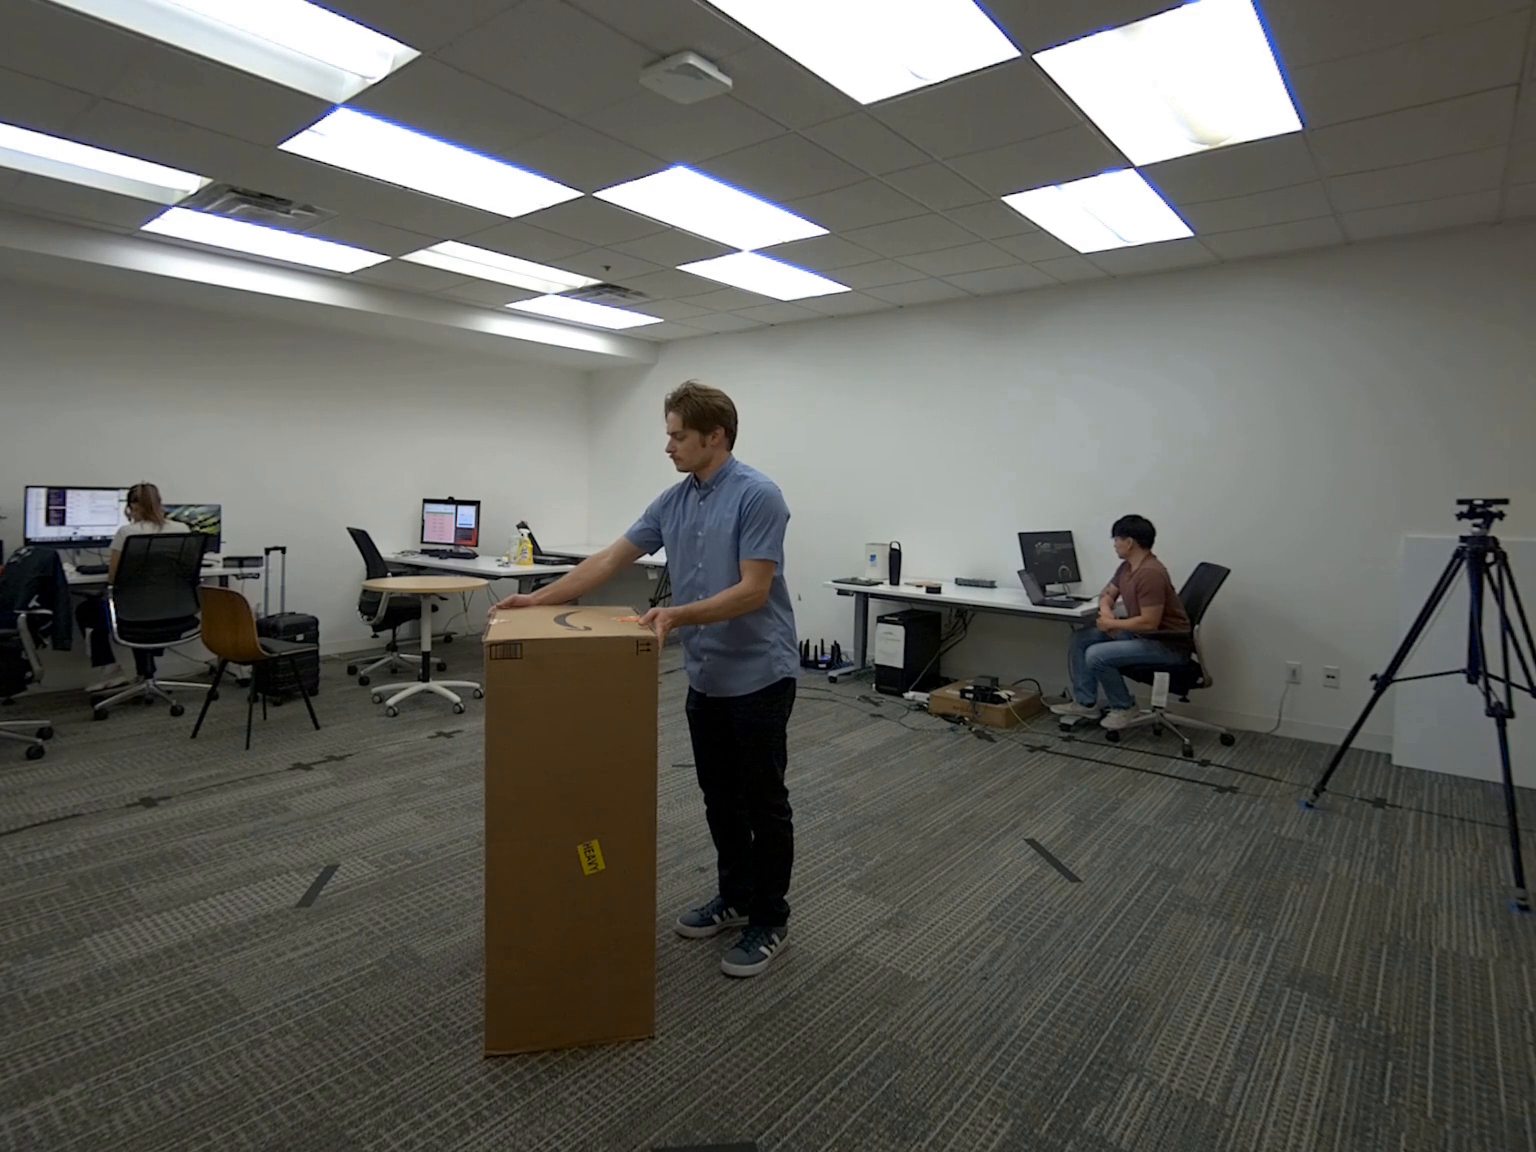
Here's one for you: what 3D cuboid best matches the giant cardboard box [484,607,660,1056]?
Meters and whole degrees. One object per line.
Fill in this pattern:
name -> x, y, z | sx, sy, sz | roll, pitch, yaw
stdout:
giant cardboard box -> -0.563, 0.630, 2.354 | 0.420, 1.023, 0.587 | 0, 3, -14
